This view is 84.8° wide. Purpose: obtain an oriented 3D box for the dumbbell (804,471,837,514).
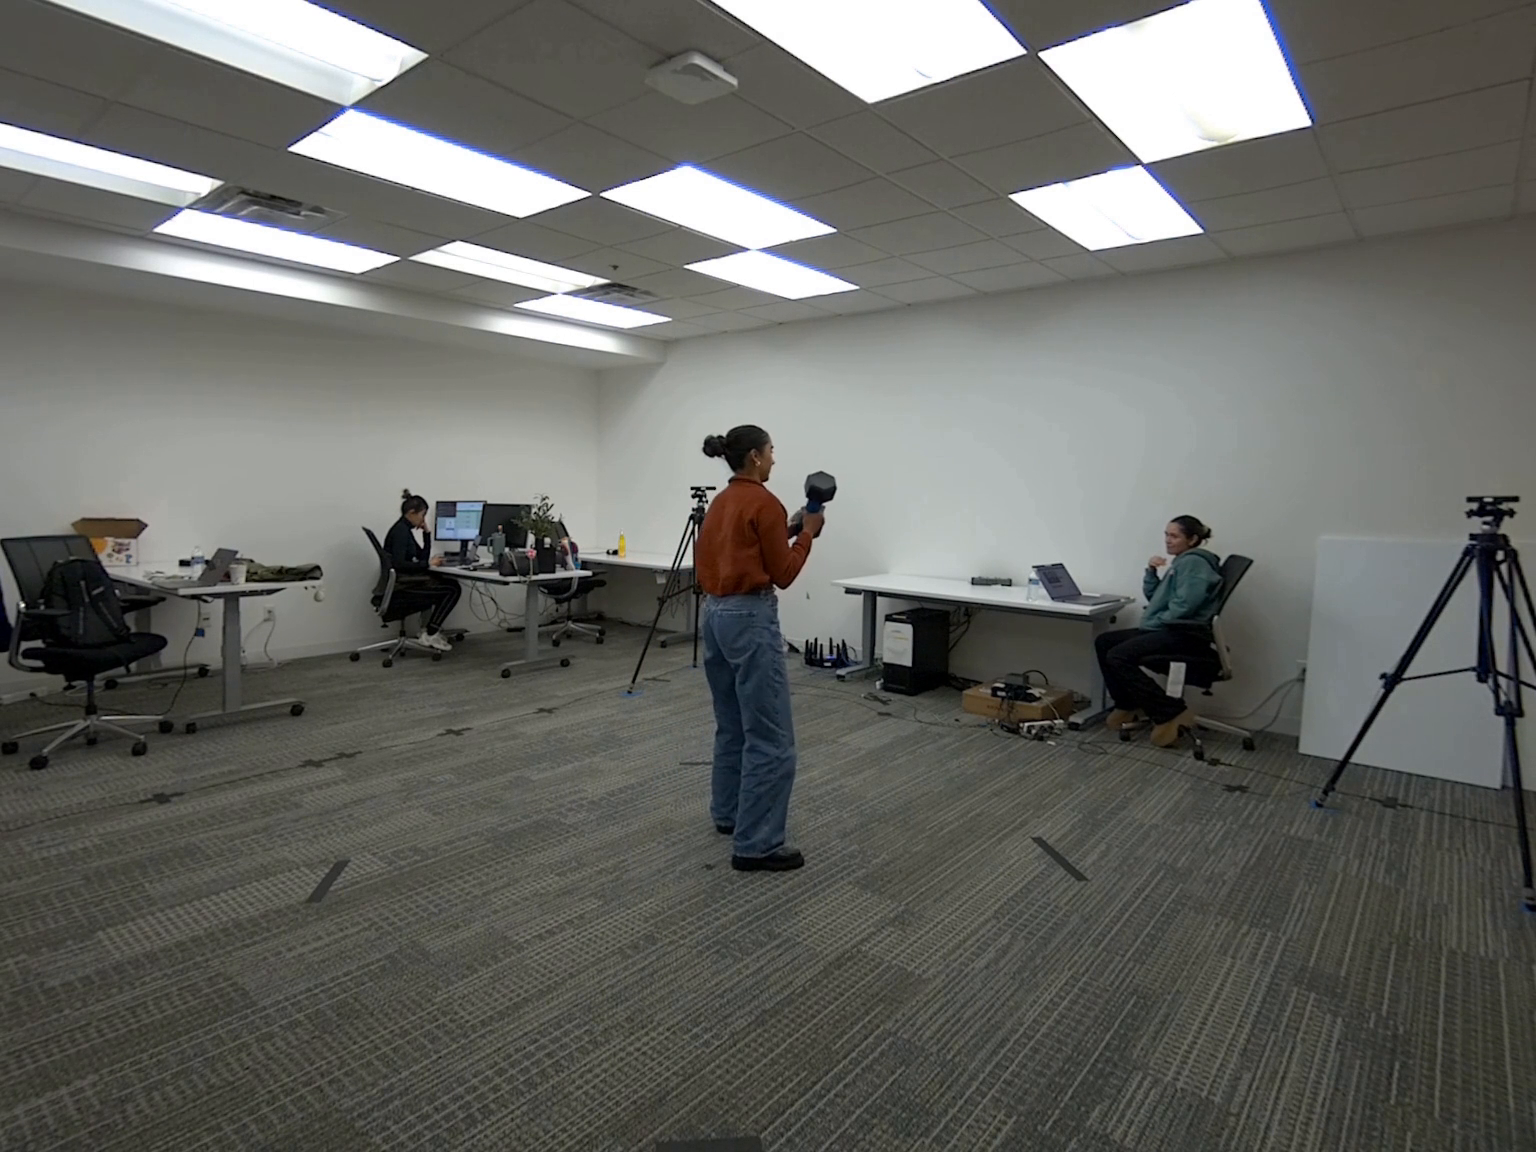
[{"bbox_3d":[0.165,-0.267,3.288,0.121,0.288,0.113,-18,55,-28],"label":"dumbbell"}]
